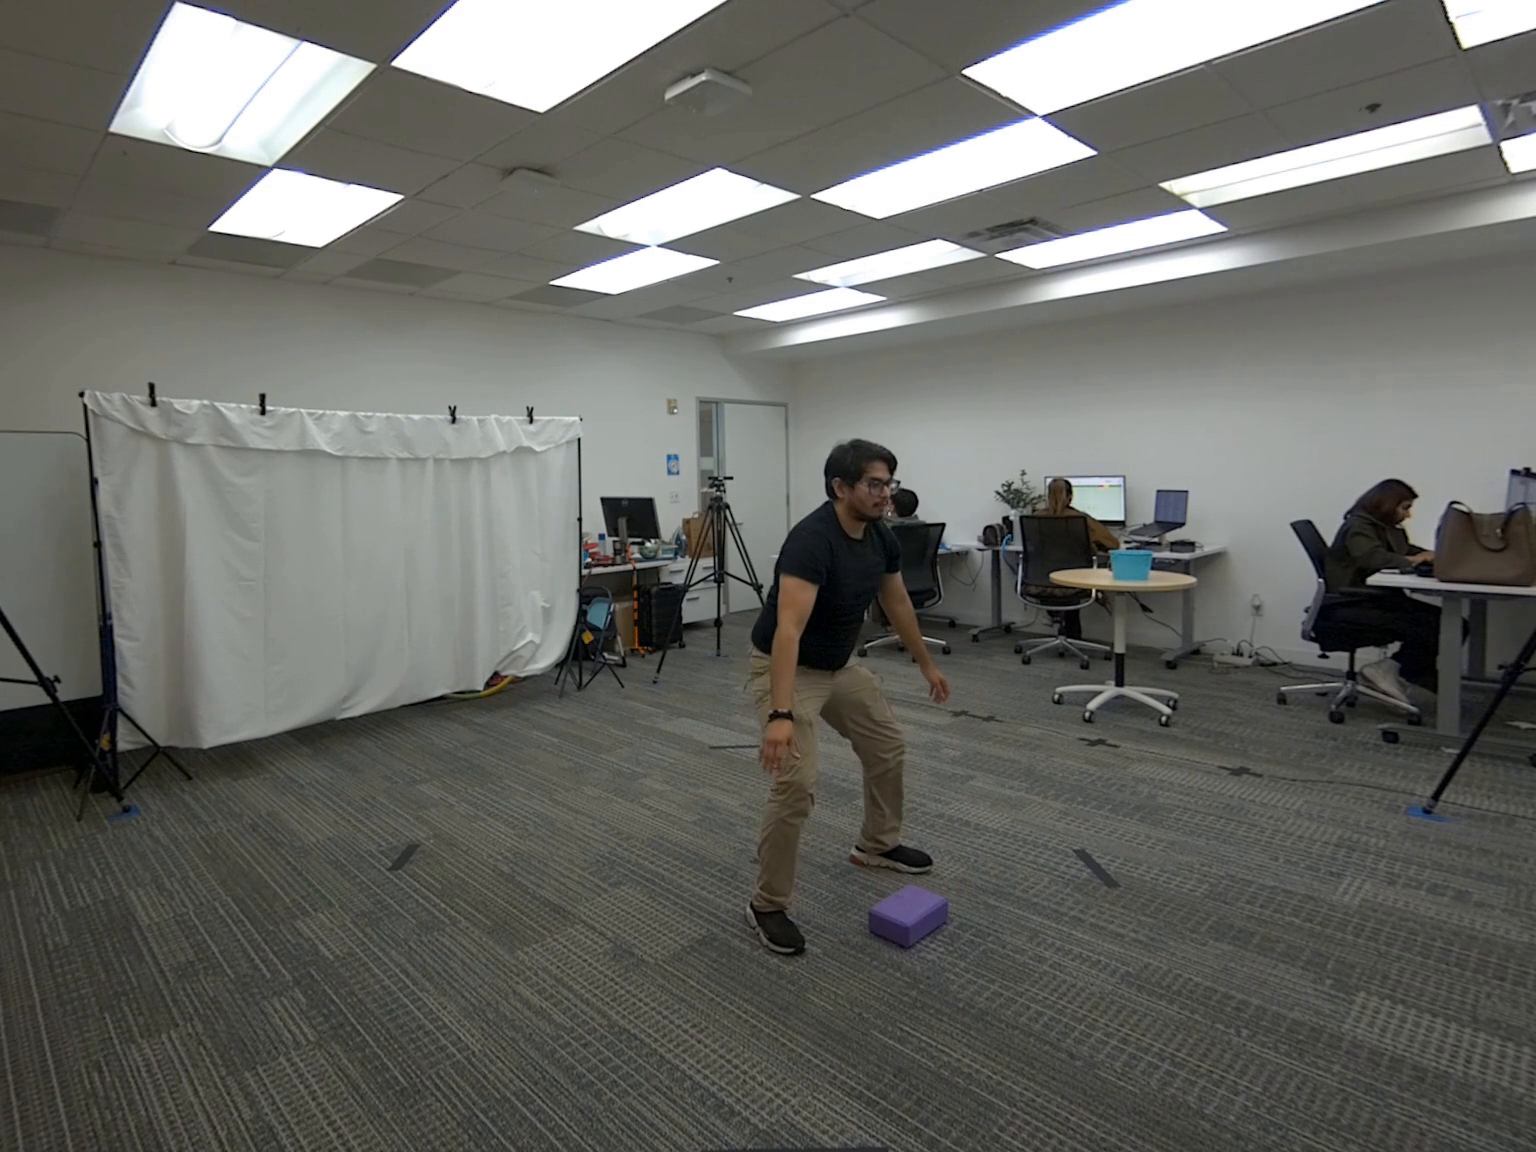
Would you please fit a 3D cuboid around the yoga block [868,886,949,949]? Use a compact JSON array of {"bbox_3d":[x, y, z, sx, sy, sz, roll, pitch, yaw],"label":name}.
[{"bbox_3d":[0.440,1.045,2.630,0.153,0.076,0.223,3,7,44],"label":"yoga block"}]
